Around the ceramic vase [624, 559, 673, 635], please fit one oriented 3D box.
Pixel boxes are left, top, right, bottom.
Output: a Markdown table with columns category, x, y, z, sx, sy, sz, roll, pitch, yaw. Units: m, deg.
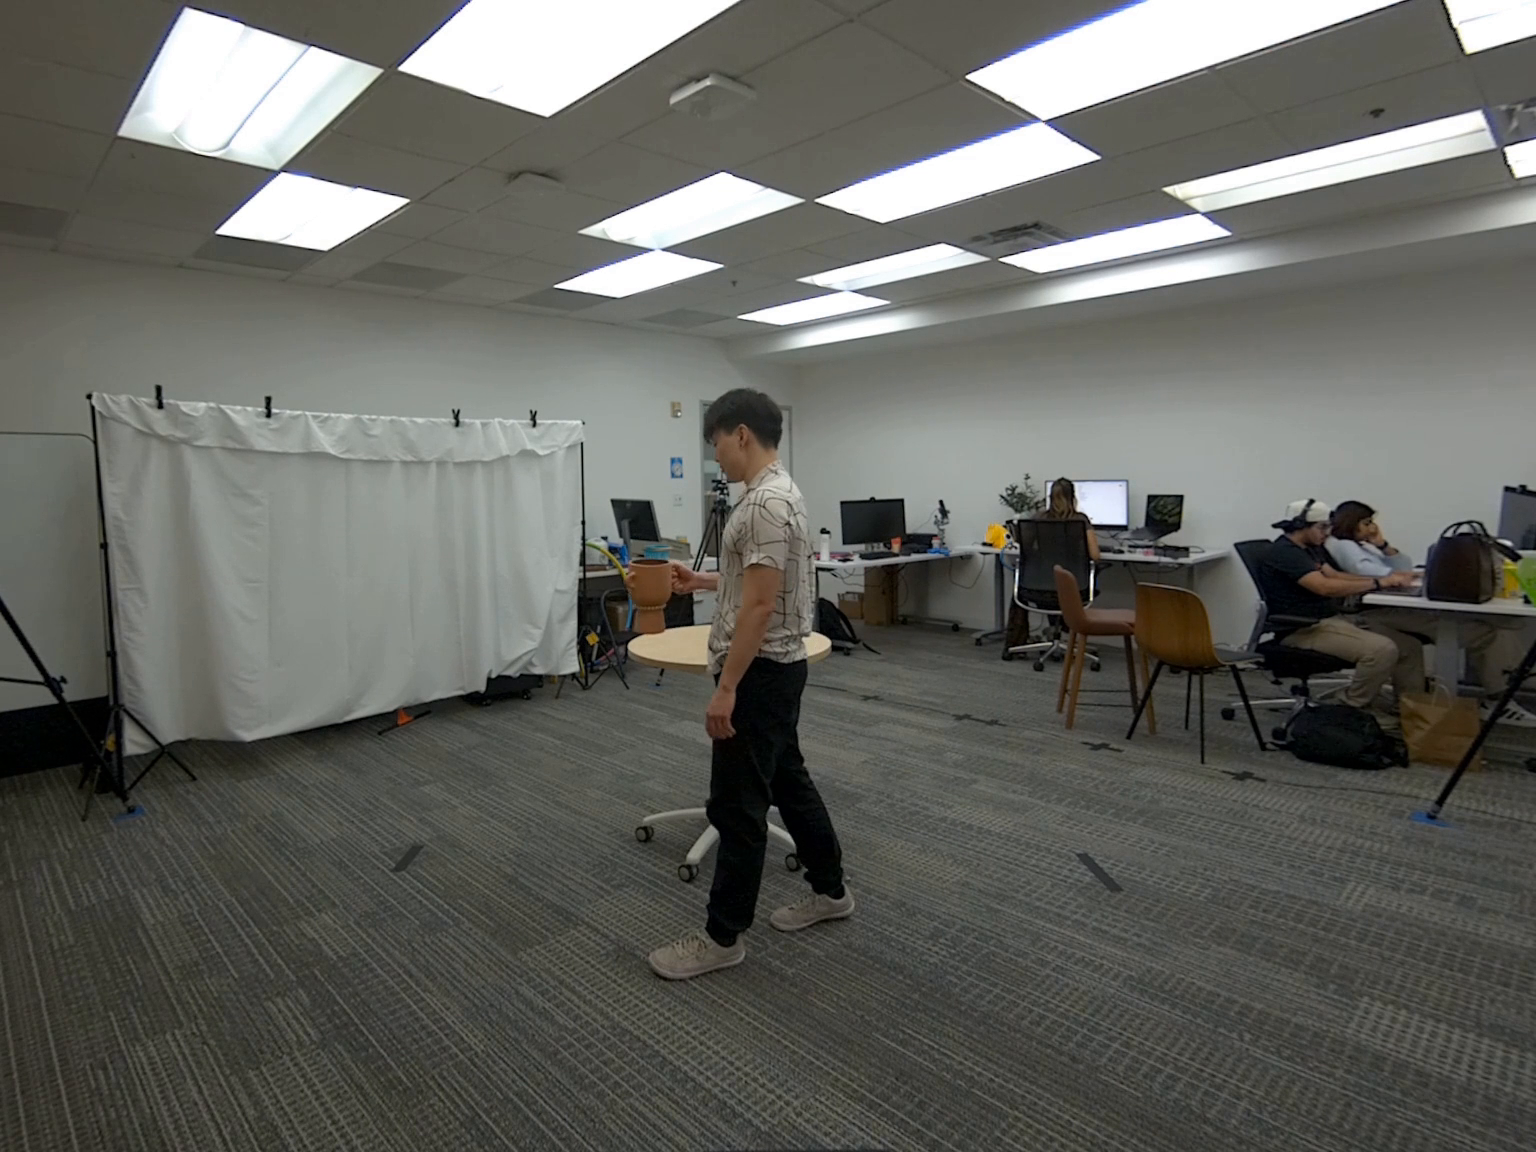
| category | x | y | z | sx | sy | sz | roll | pitch | yaw |
| --- | --- | --- | --- | --- | --- | --- | --- | --- | --- |
| ceramic vase | -0.361 | 0.063 | 2.663 | 0.157 | 0.218 | 0.137 | -1 | 9 | -12 |
